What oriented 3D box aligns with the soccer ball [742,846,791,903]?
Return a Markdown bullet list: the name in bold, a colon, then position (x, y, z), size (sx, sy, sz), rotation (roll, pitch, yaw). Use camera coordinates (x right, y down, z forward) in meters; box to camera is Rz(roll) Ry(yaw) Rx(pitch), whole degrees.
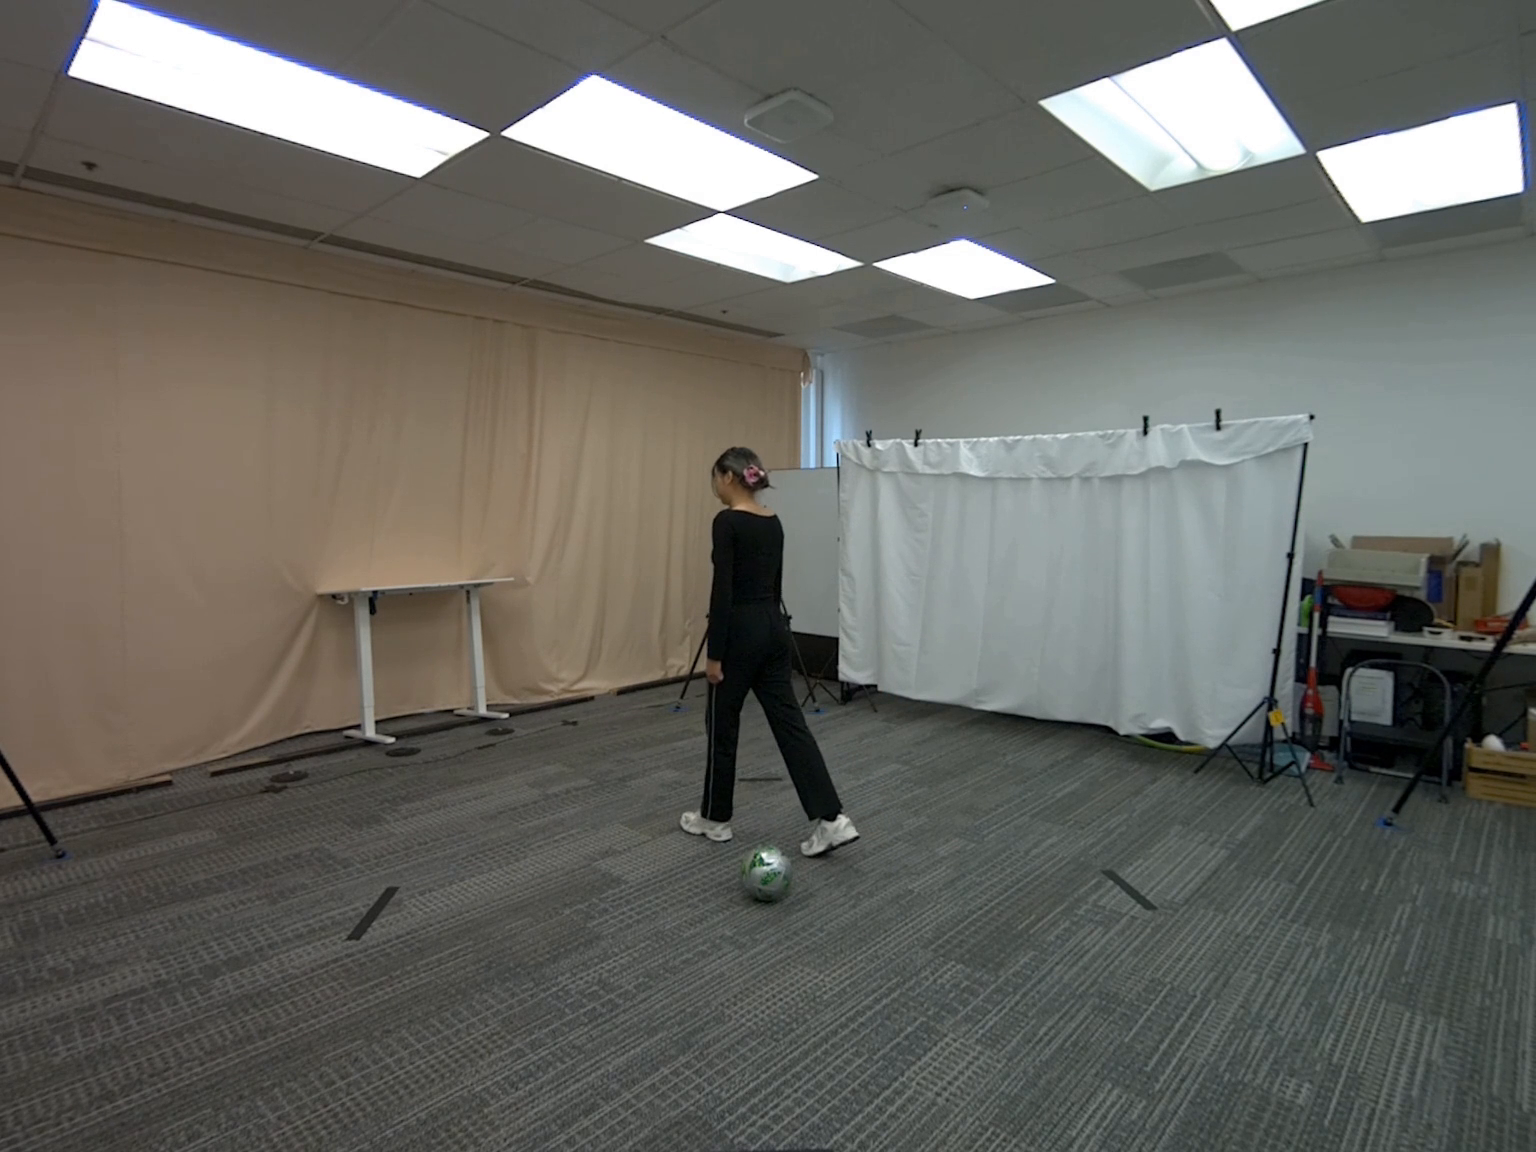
- **soccer ball**: position (-0.002, 1.048, 2.981), size (0.187, 0.187, 0.188), rotation (0, 4, -2)
